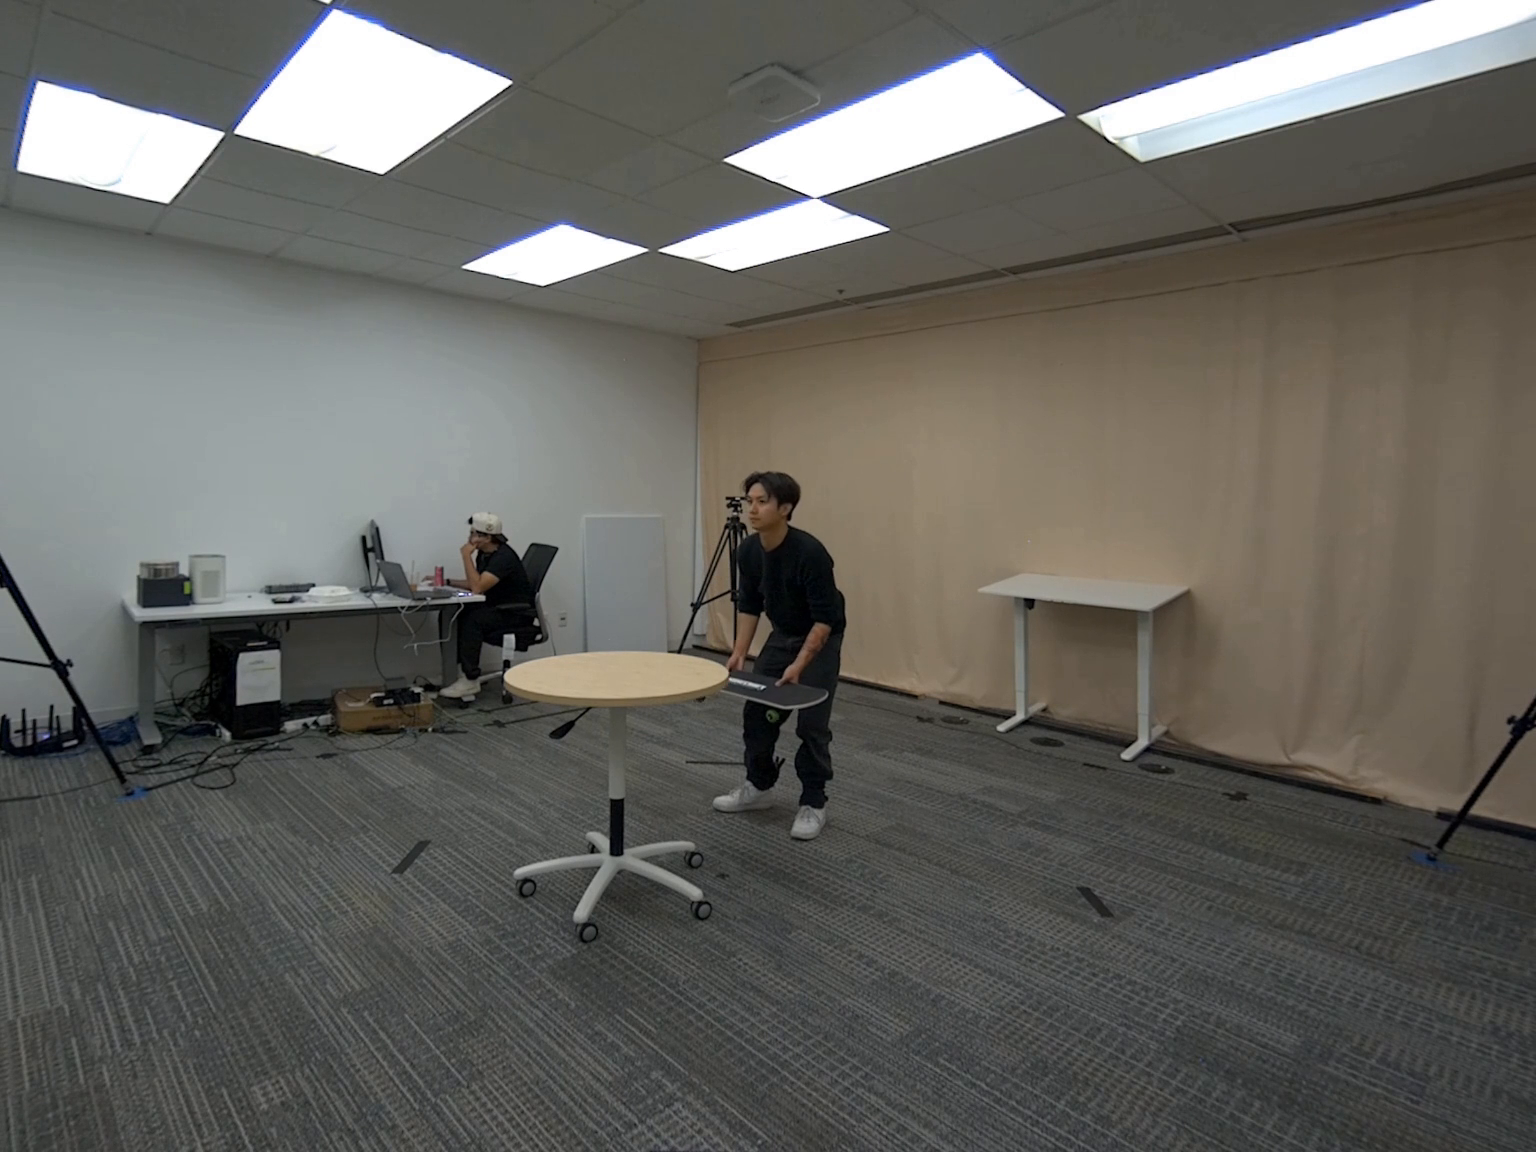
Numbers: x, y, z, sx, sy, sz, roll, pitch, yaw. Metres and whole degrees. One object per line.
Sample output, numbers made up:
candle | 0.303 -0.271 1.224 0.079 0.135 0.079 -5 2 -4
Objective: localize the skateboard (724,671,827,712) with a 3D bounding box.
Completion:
skateboard | -0.102 0.474 3.416 0.806 0.109 0.190 7 20 42
